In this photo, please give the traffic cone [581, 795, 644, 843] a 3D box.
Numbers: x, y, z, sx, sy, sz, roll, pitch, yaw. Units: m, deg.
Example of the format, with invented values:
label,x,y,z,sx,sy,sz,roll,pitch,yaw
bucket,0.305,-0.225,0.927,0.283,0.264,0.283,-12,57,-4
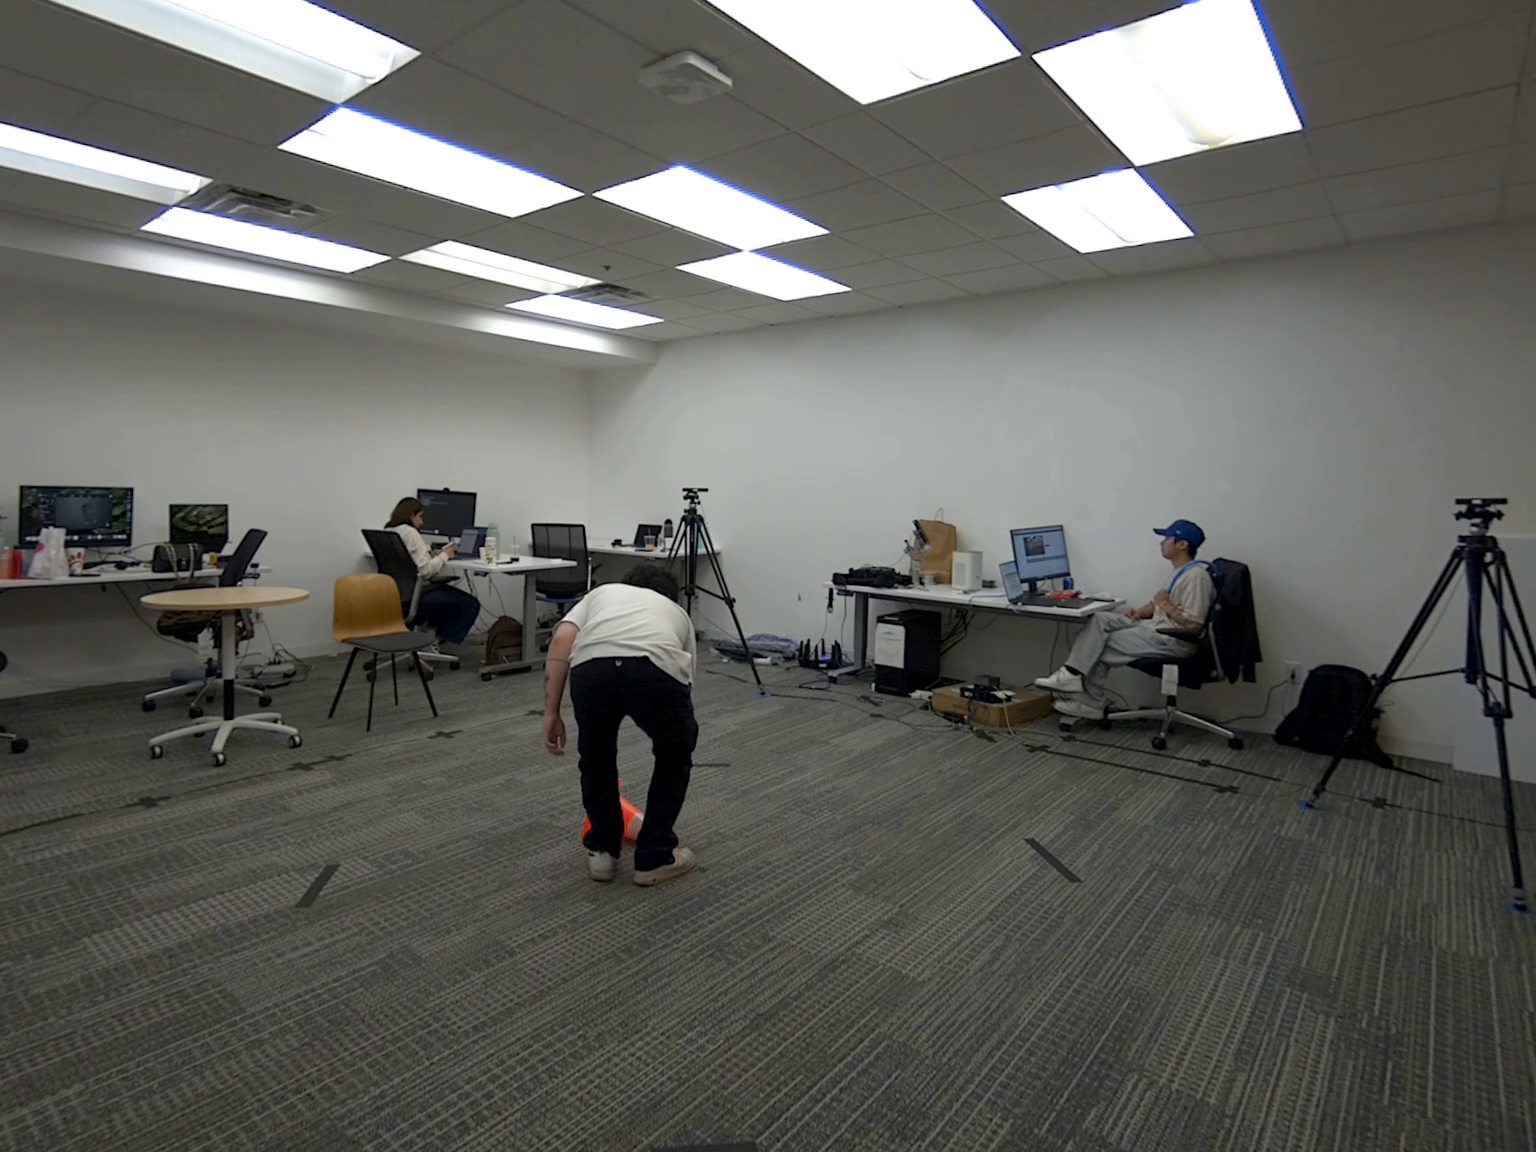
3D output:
label,x,y,z,sx,sy,sz,roll,pitch,yaw
traffic cone,-0.516,0.989,3.342,0.396,0.202,0.200,19,13,28
